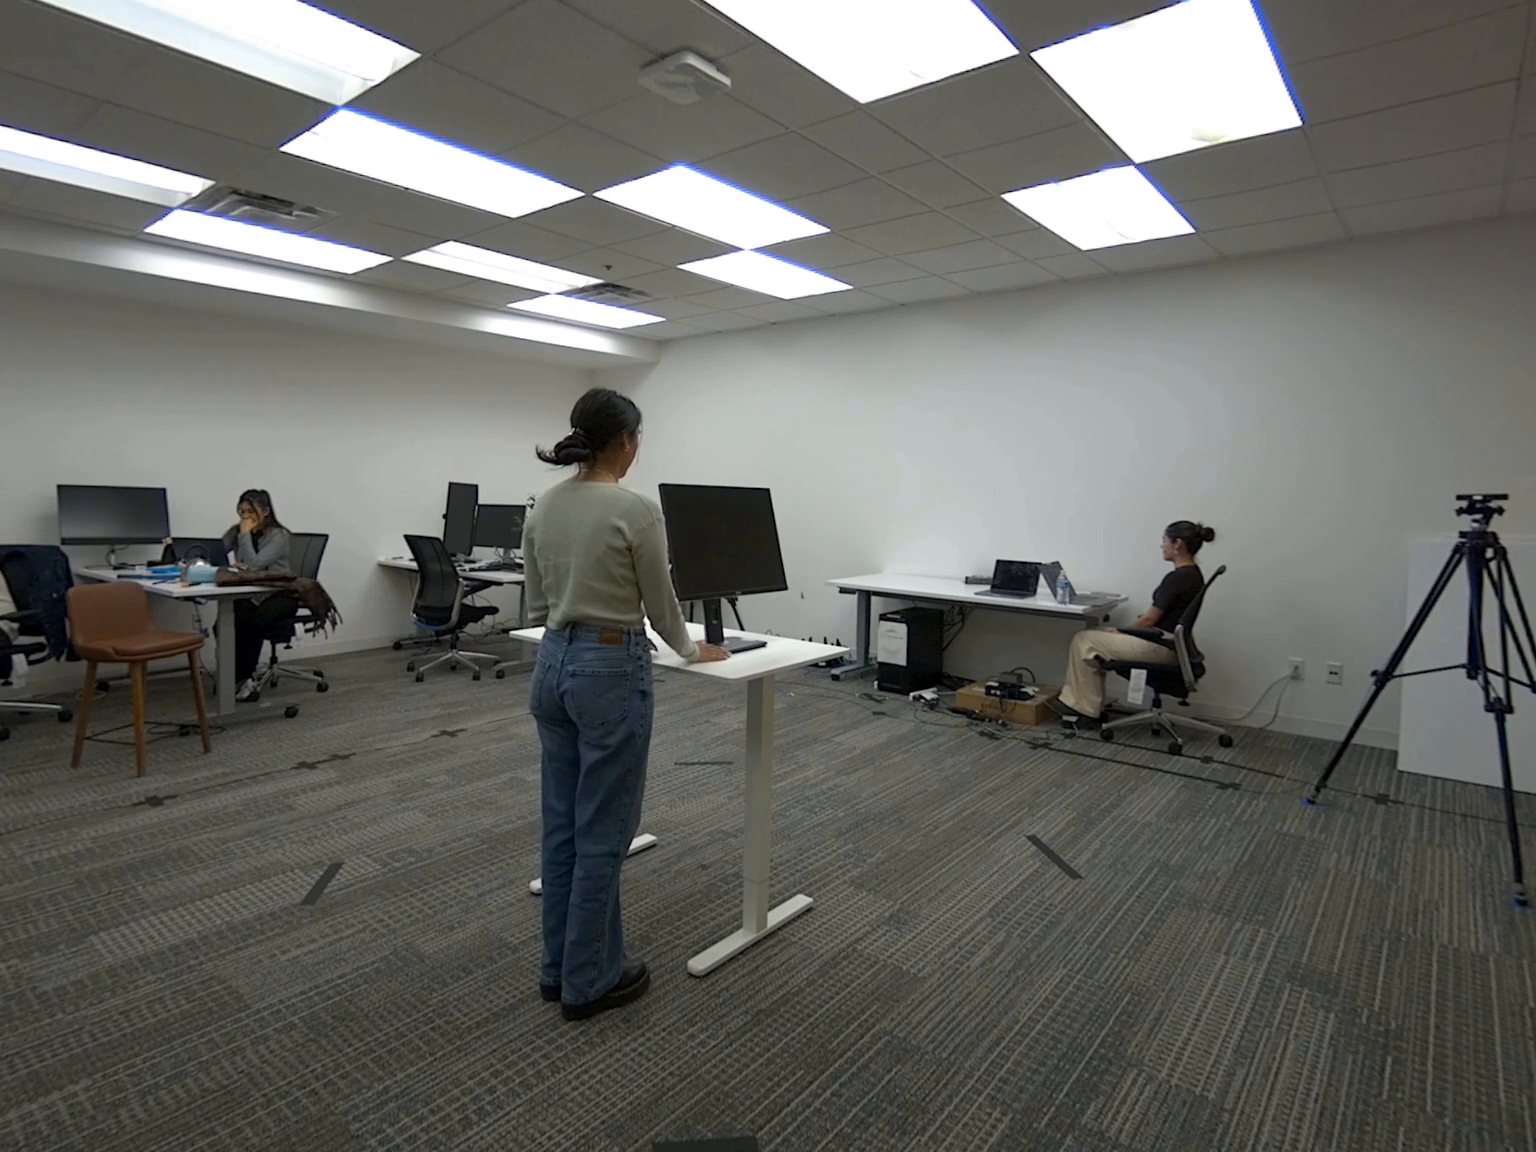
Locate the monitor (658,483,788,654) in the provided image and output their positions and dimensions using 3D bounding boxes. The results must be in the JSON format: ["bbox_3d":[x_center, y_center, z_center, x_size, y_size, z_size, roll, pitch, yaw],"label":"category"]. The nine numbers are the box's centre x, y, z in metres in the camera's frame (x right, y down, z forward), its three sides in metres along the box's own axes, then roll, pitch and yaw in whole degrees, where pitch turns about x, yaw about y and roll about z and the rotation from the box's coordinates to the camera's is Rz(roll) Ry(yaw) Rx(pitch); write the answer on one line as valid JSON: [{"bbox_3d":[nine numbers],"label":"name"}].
[{"bbox_3d":[-0.157,-0.030,2.683,0.180,0.514,0.514,7,5,37],"label":"monitor"}]
